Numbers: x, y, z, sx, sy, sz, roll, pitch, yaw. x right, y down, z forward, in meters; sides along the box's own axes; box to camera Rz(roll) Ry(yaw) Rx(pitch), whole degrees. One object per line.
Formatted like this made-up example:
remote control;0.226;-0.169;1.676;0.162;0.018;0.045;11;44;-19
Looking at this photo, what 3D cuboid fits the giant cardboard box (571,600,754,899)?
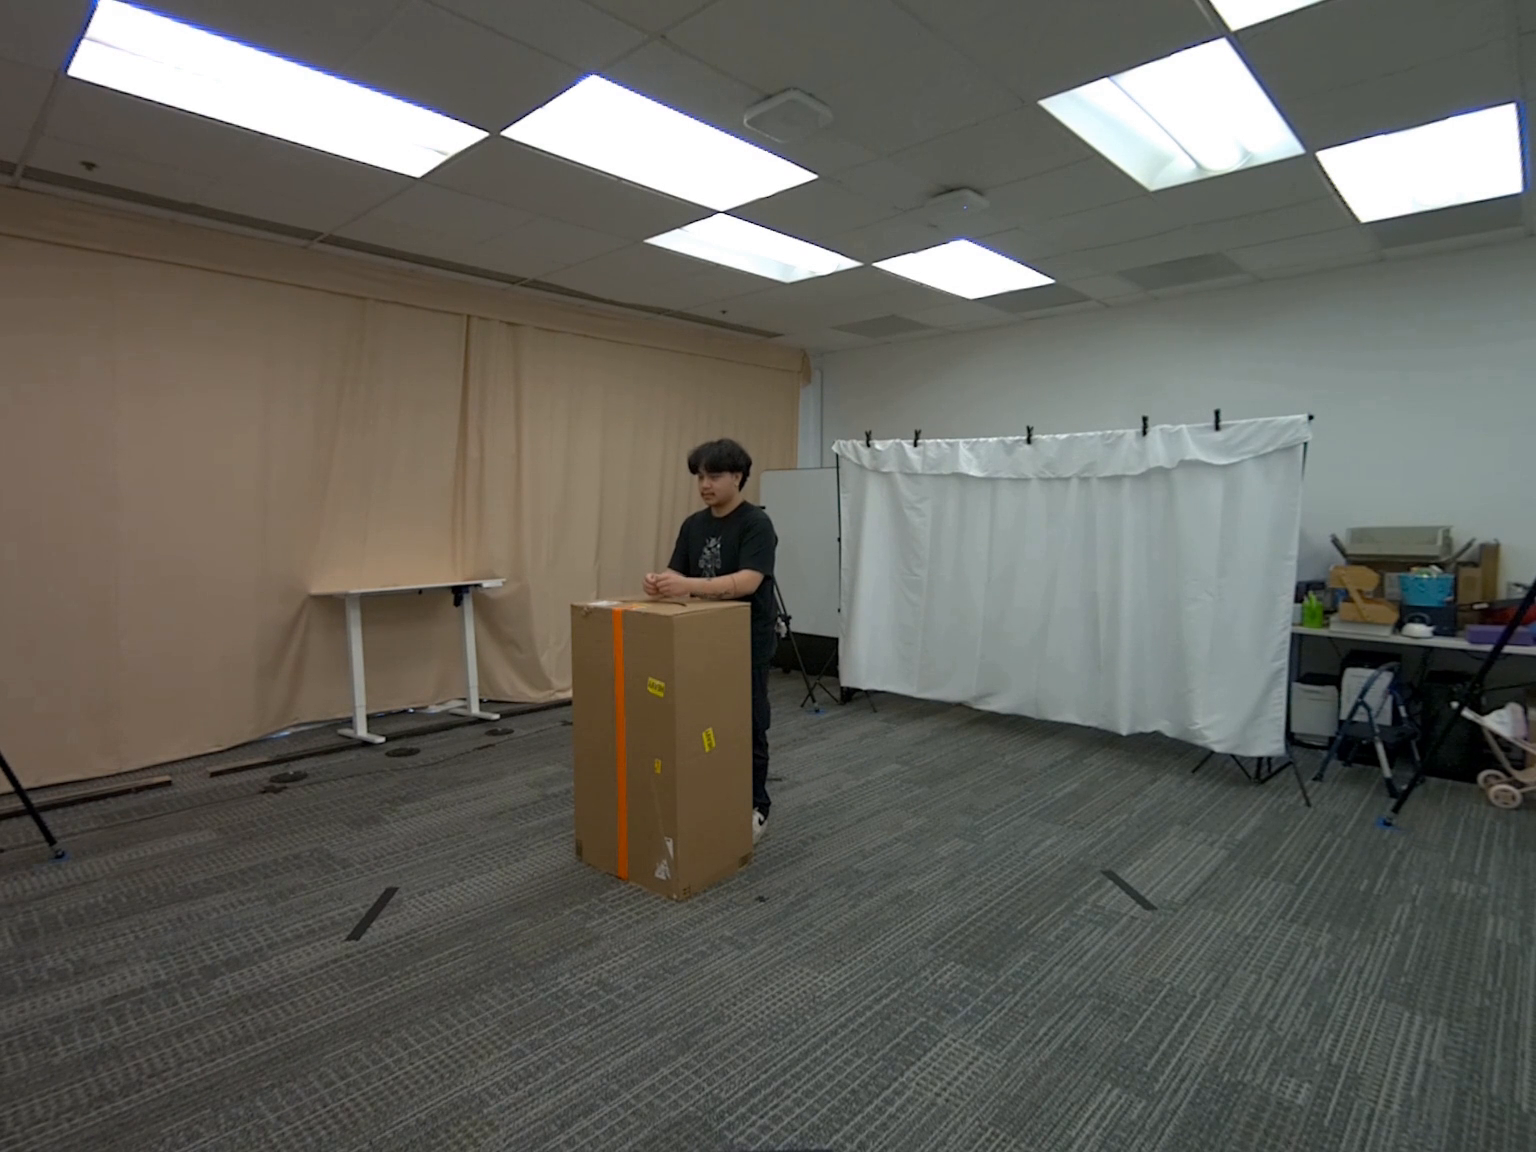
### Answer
giant cardboard box;-0.419;0.611;3.280;0.603;1.025;0.433;2;5;41
